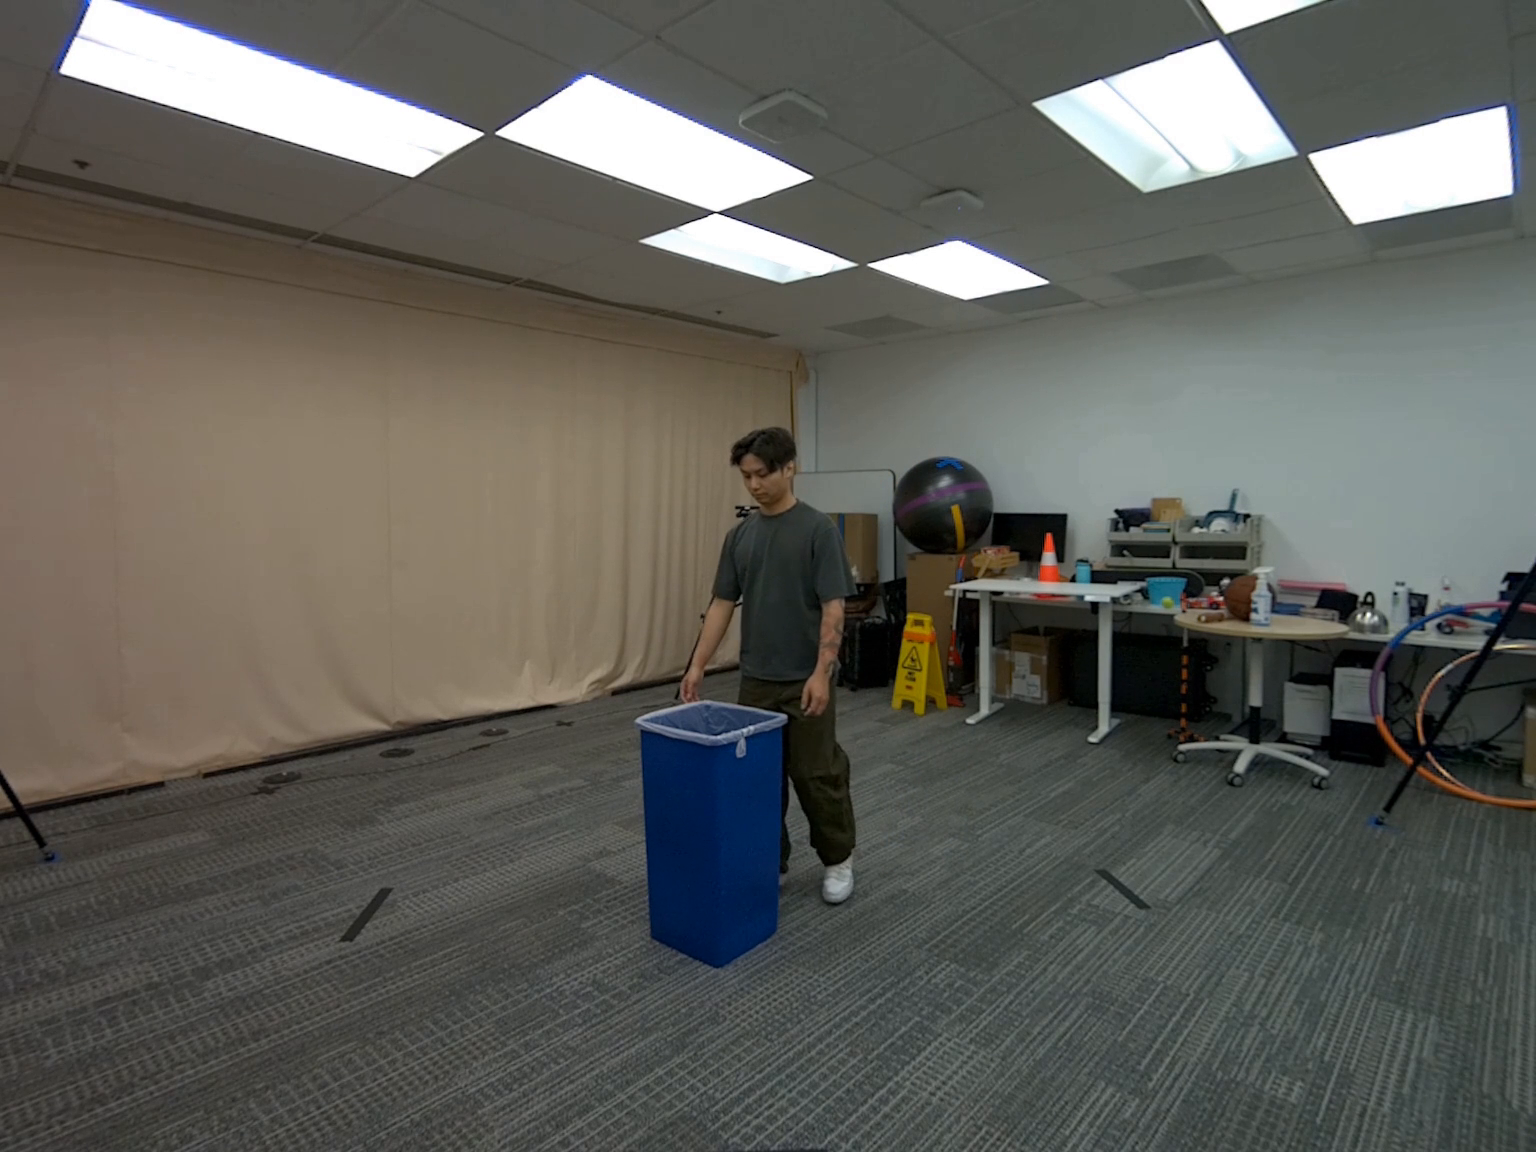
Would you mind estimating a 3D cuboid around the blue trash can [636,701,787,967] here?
[{"bbox_3d":[-0.179,0.809,2.712,0.390,0.713,0.363,1,3,38],"label":"blue trash can"}]
